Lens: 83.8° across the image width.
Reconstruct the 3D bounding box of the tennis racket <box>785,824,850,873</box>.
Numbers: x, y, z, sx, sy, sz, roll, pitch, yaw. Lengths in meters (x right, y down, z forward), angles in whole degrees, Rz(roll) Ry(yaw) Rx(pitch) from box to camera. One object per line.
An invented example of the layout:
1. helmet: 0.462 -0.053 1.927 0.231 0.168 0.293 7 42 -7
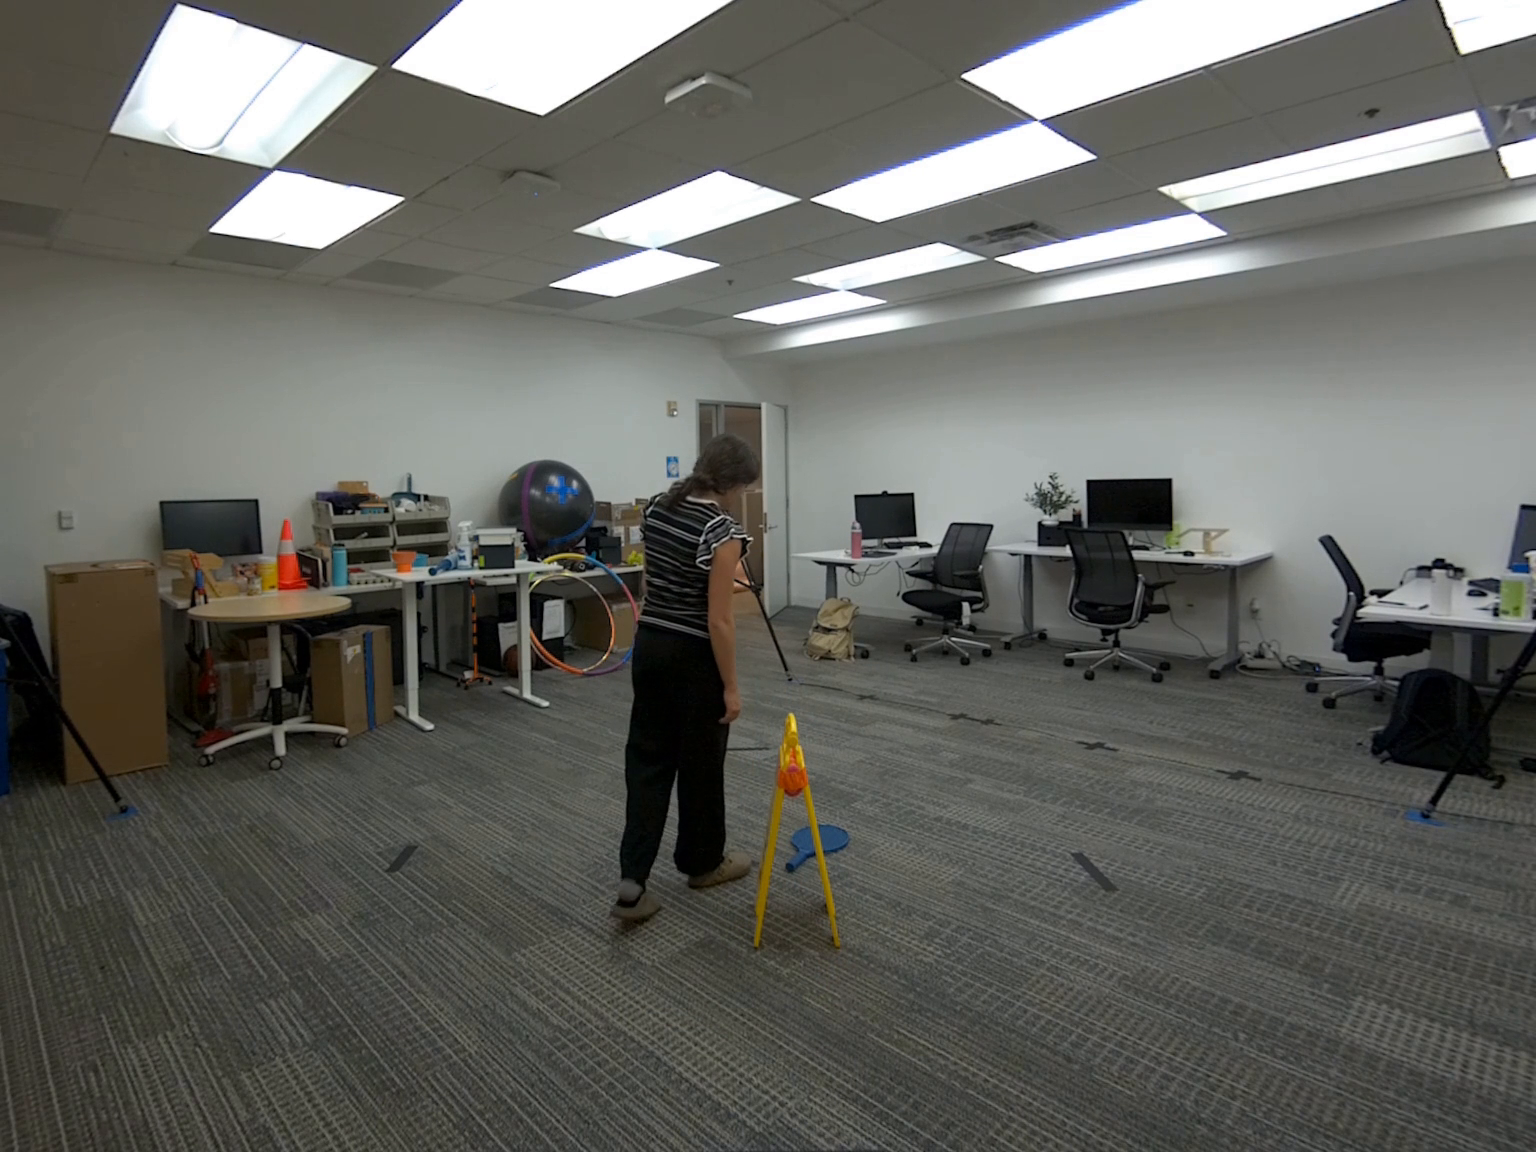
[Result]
1. tennis racket: 0.169 1.015 3.221 0.218 0.031 0.425 2 6 23
